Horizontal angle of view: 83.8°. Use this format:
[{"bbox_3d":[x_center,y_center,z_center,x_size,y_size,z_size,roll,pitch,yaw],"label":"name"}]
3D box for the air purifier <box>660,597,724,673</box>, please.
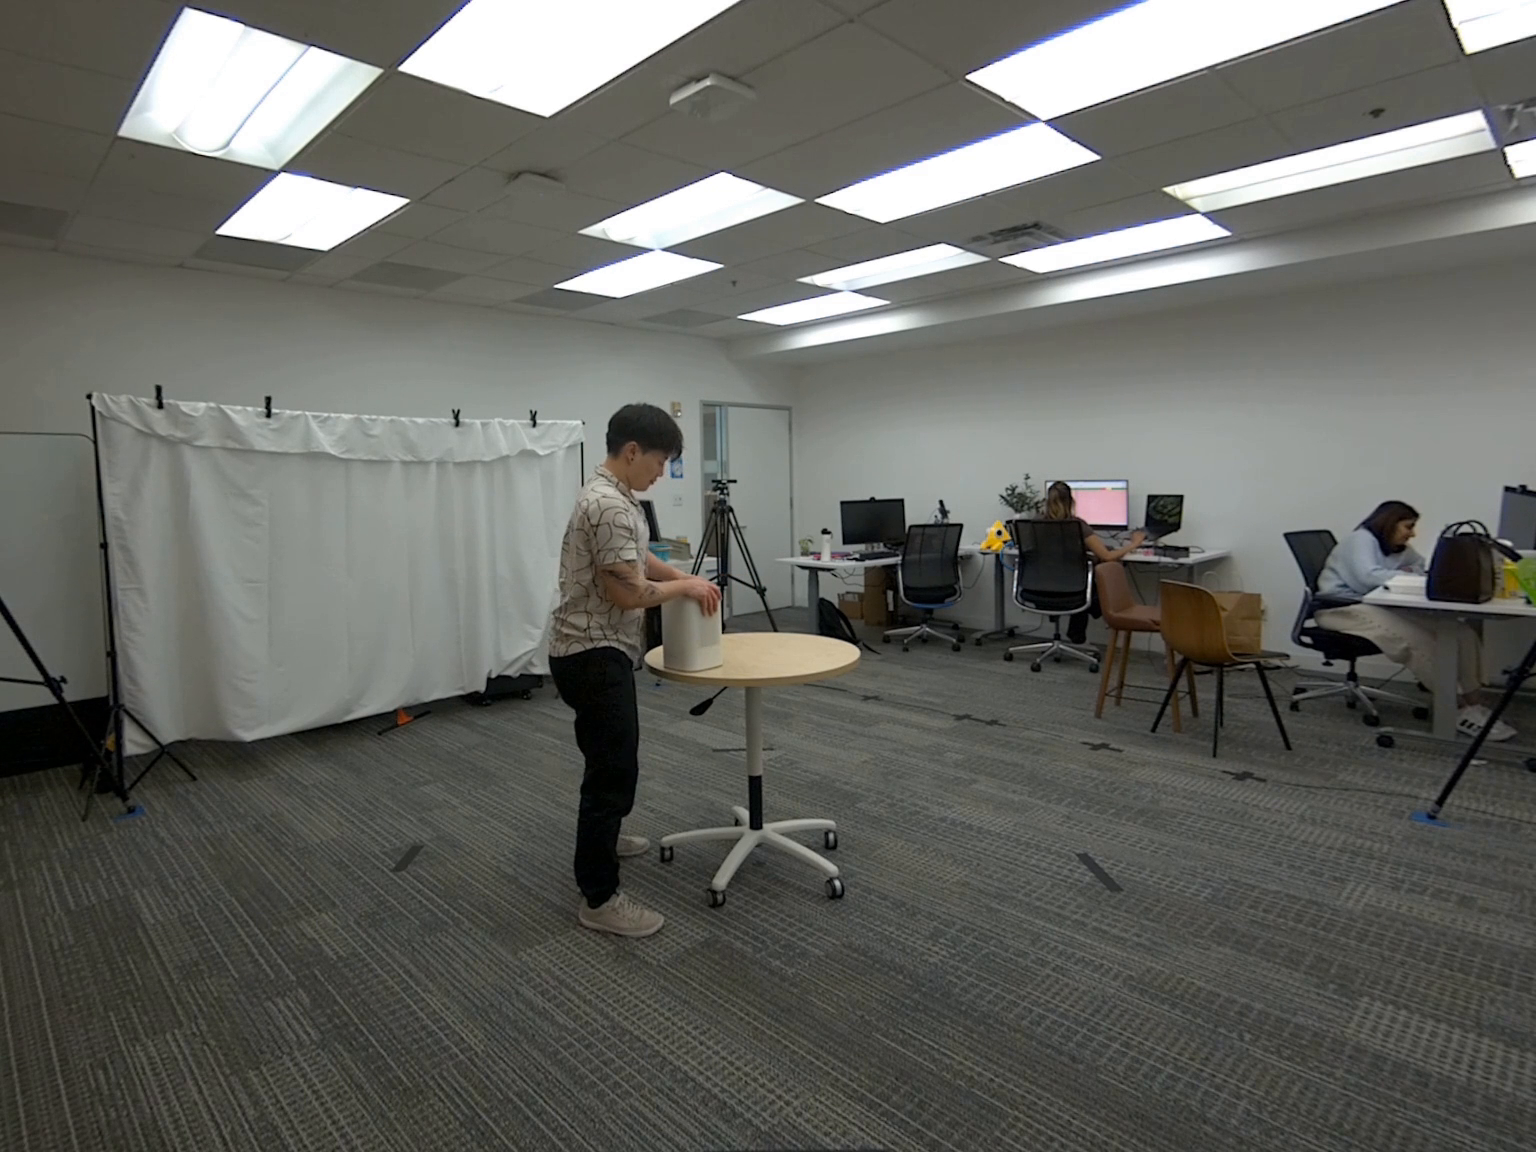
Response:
[{"bbox_3d":[-0.252,0.167,2.862,0.167,0.264,0.176,-9,9,-43],"label":"air purifier"}]
